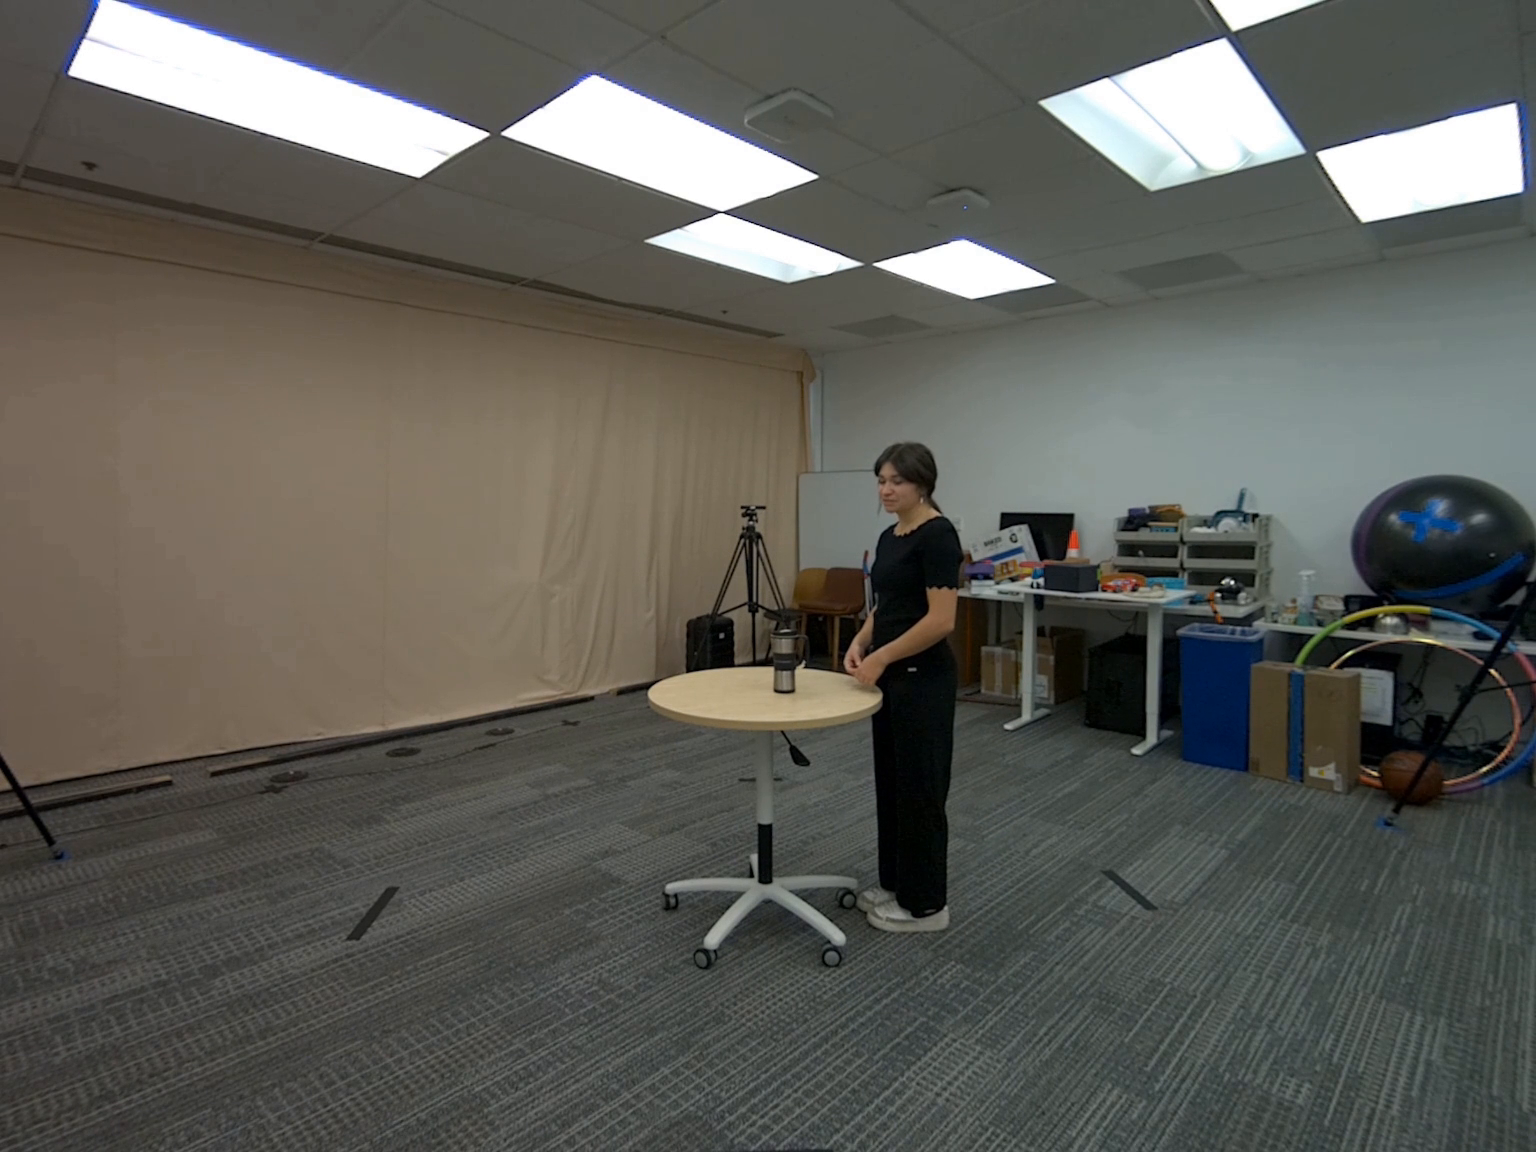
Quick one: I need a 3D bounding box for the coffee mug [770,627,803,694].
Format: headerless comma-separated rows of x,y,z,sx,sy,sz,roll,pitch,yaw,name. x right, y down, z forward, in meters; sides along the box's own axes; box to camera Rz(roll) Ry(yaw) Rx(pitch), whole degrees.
0.076,0.287,2.734,0.085,0.203,0.126,4,-1,-44,coffee mug
